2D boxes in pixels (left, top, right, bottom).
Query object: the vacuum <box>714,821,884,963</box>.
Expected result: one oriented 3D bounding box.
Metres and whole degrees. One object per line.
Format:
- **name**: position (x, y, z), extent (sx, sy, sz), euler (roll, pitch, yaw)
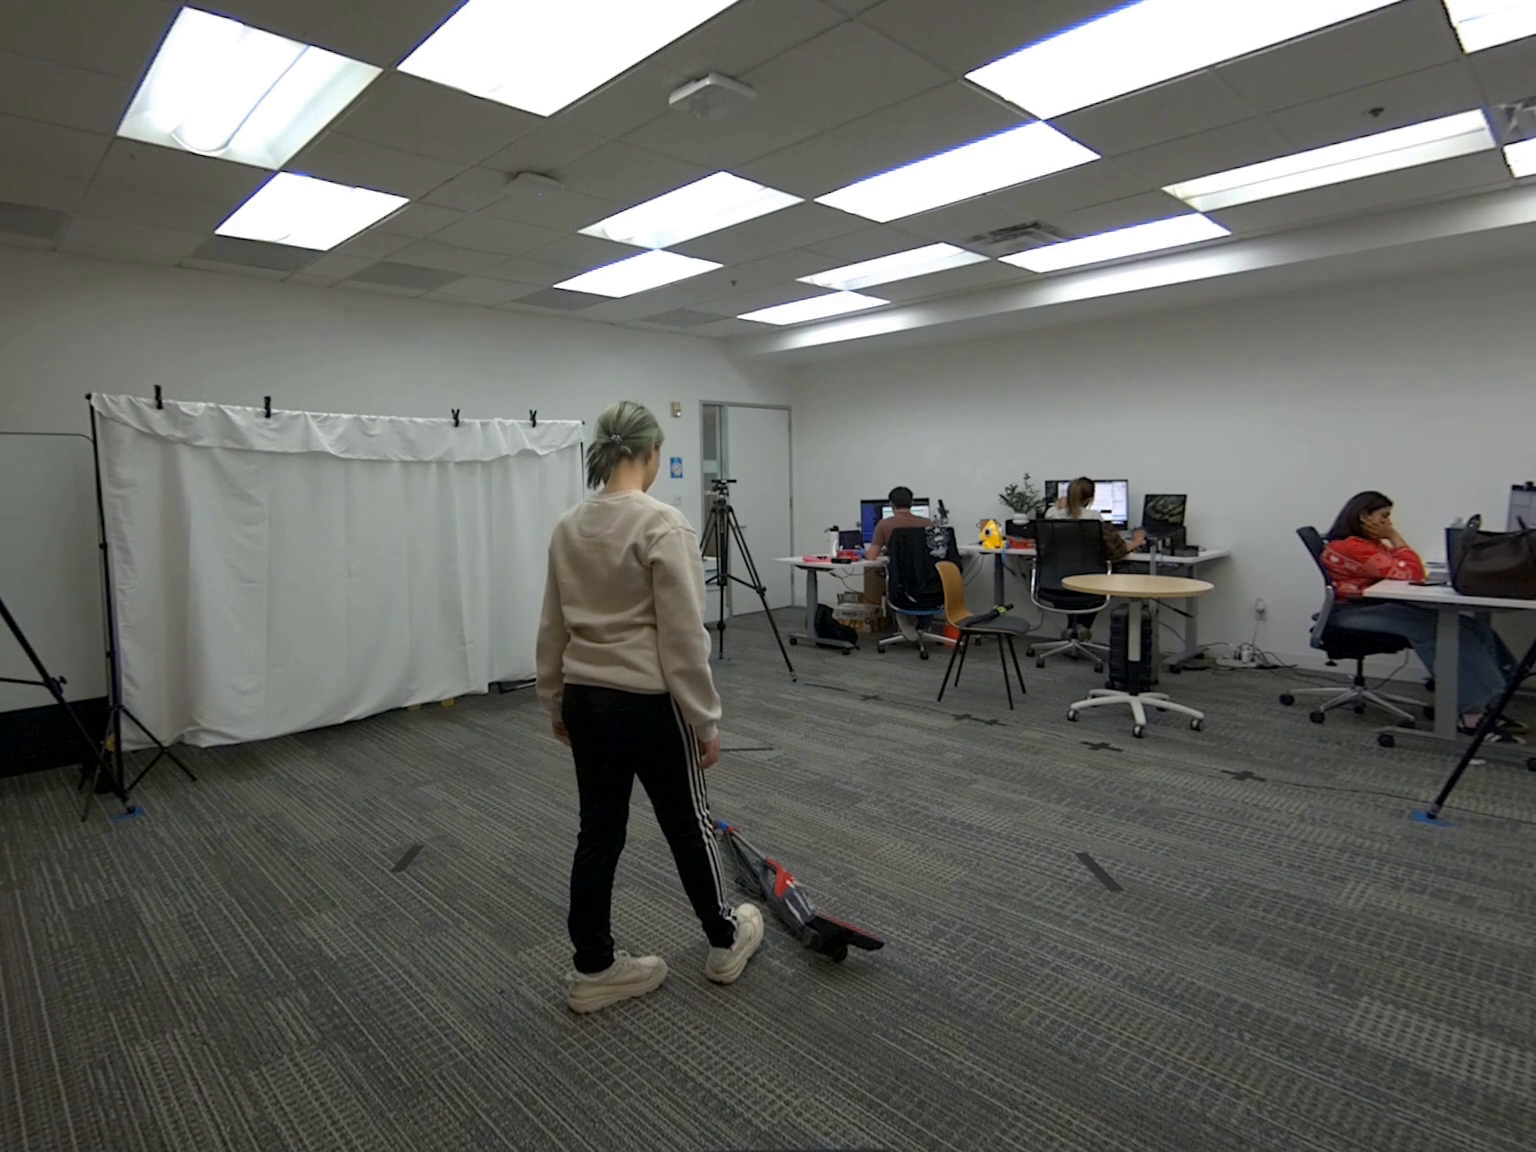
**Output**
- **vacuum**: position (-0.022, 1.016, 2.915), extent (0.246, 0.144, 1.071), euler (33, -11, -21)
